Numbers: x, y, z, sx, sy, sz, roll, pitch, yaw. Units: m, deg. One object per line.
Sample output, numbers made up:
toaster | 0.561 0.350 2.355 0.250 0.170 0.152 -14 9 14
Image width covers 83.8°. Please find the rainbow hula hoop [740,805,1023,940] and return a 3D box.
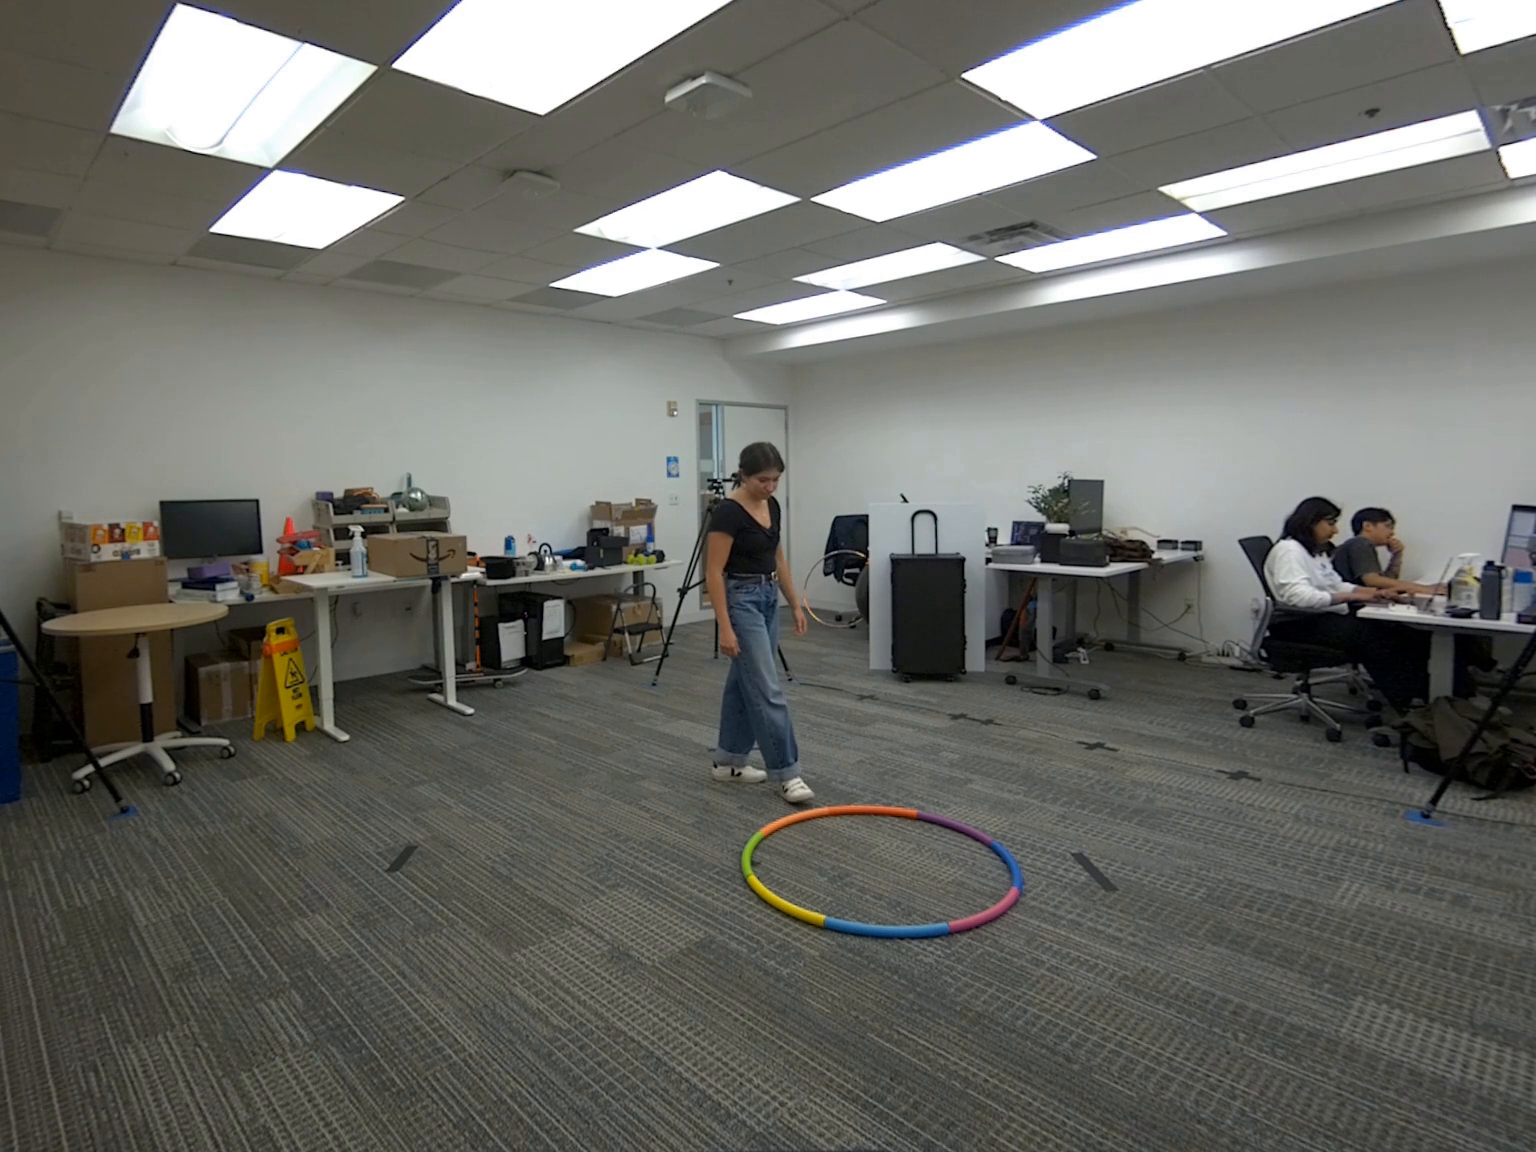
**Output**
rainbow hula hoop | 0.386 1.013 3.073 0.978 0.035 0.984 -2 7 -2
